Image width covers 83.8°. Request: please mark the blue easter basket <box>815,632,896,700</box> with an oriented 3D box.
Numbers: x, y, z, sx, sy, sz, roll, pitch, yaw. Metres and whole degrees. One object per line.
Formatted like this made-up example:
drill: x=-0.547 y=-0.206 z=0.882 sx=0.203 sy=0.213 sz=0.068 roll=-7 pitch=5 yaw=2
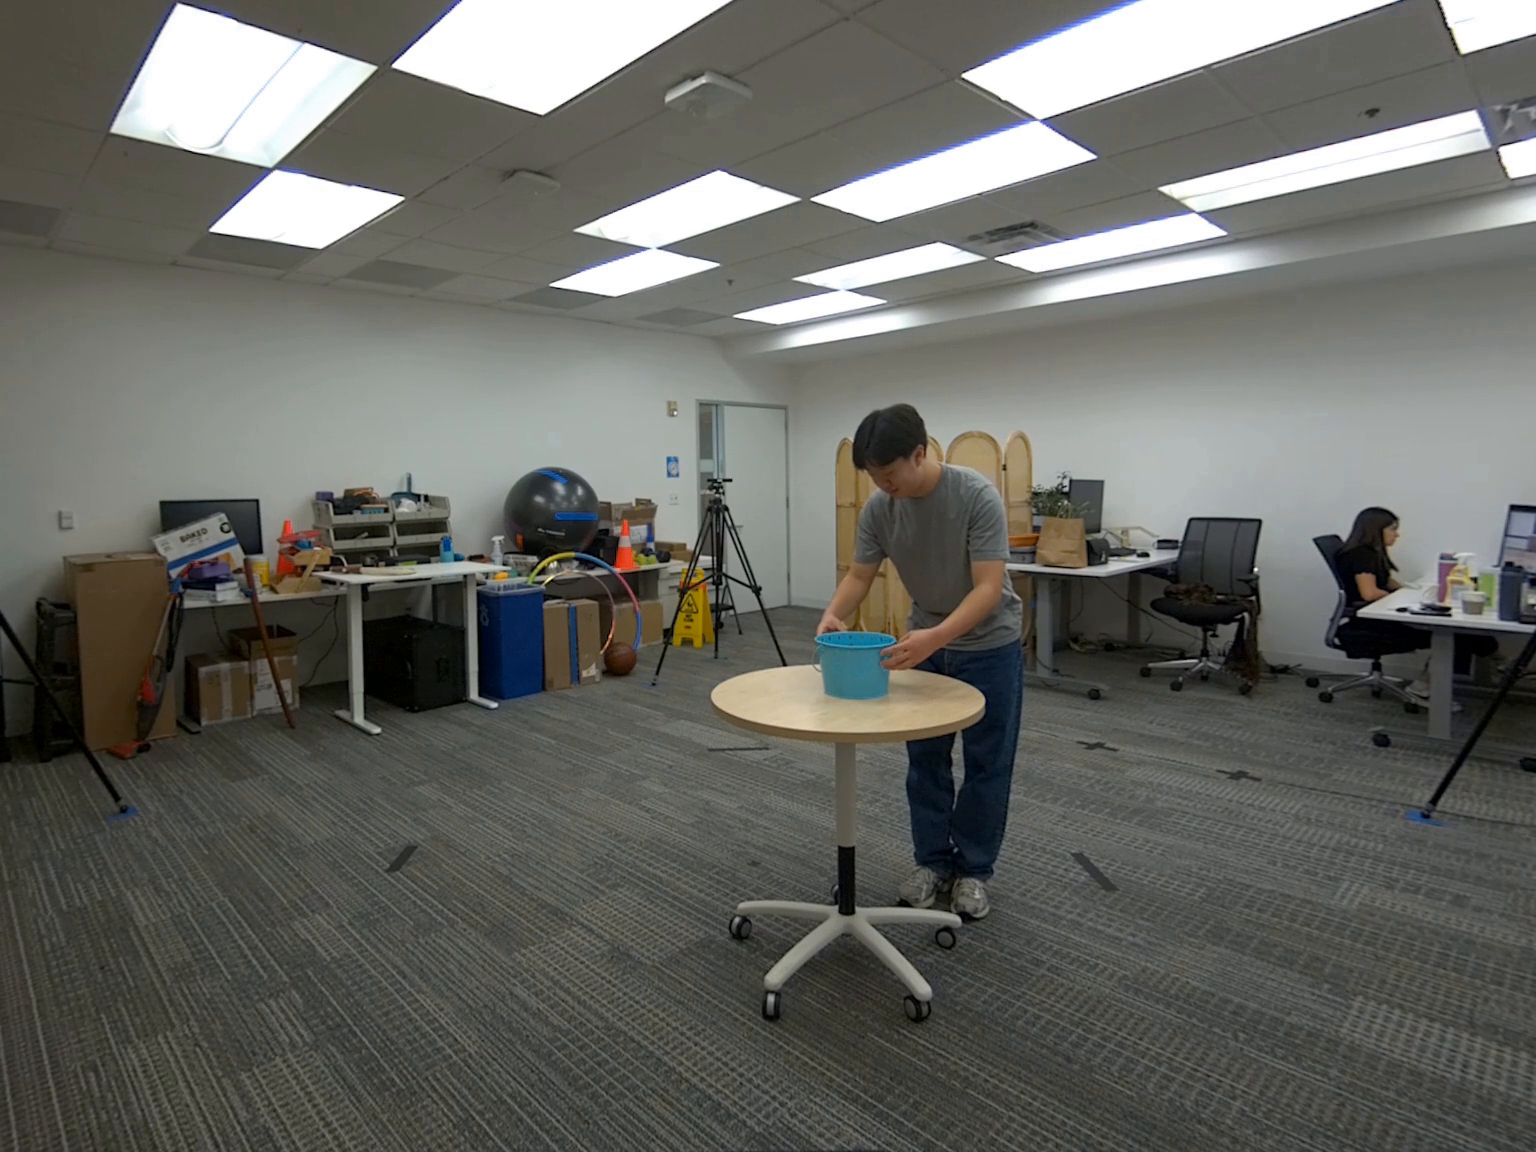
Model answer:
blue easter basket: x=0.261 y=0.262 z=2.447 sx=0.243 sy=0.155 sz=0.245 roll=-1 pitch=6 yaw=-2
